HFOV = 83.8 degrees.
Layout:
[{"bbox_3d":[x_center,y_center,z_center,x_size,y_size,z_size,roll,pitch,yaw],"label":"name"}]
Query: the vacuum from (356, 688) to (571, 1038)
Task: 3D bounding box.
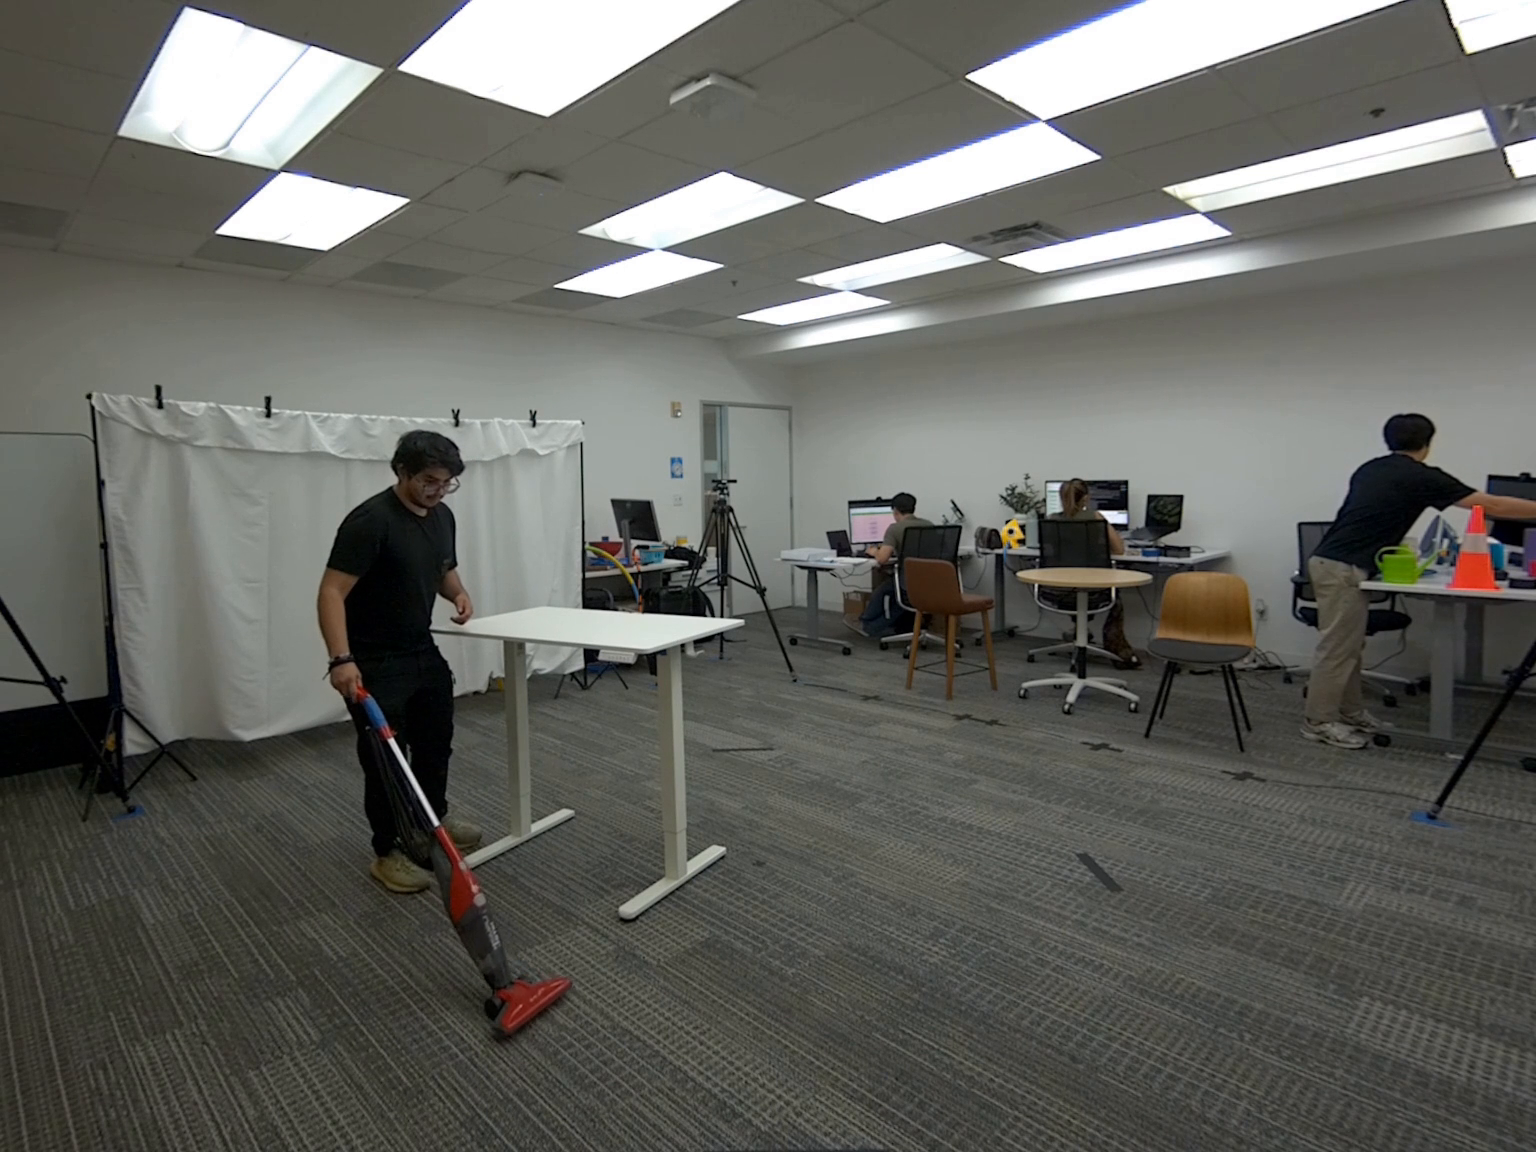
[{"bbox_3d":[-0.945,0.733,2.435,0.144,1.073,0.247,-45,-19,27],"label":"vacuum"}]
